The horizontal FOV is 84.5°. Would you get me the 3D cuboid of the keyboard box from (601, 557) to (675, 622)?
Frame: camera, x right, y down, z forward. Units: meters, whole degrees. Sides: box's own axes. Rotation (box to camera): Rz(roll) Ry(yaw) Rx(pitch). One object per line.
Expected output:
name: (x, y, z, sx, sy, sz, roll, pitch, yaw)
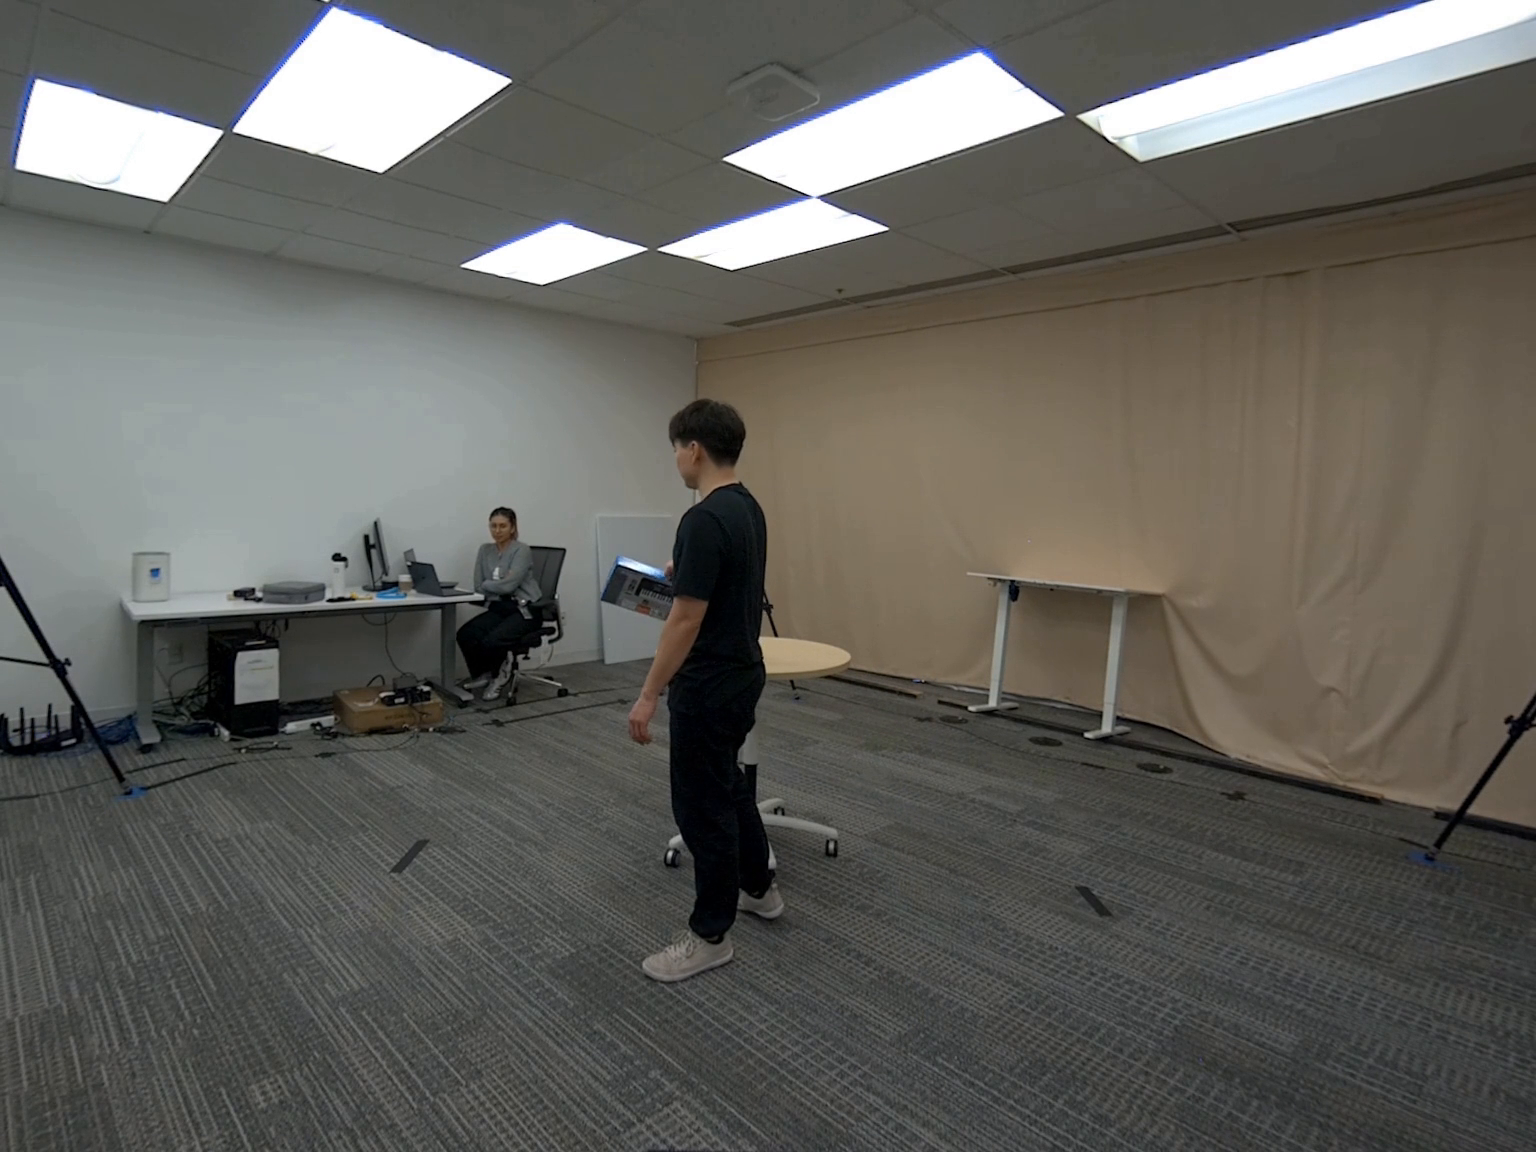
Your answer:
keyboard box: (-0.382, 0.088, 3.070, 0.430, 0.174, 0.060, 18, 29, -16)
